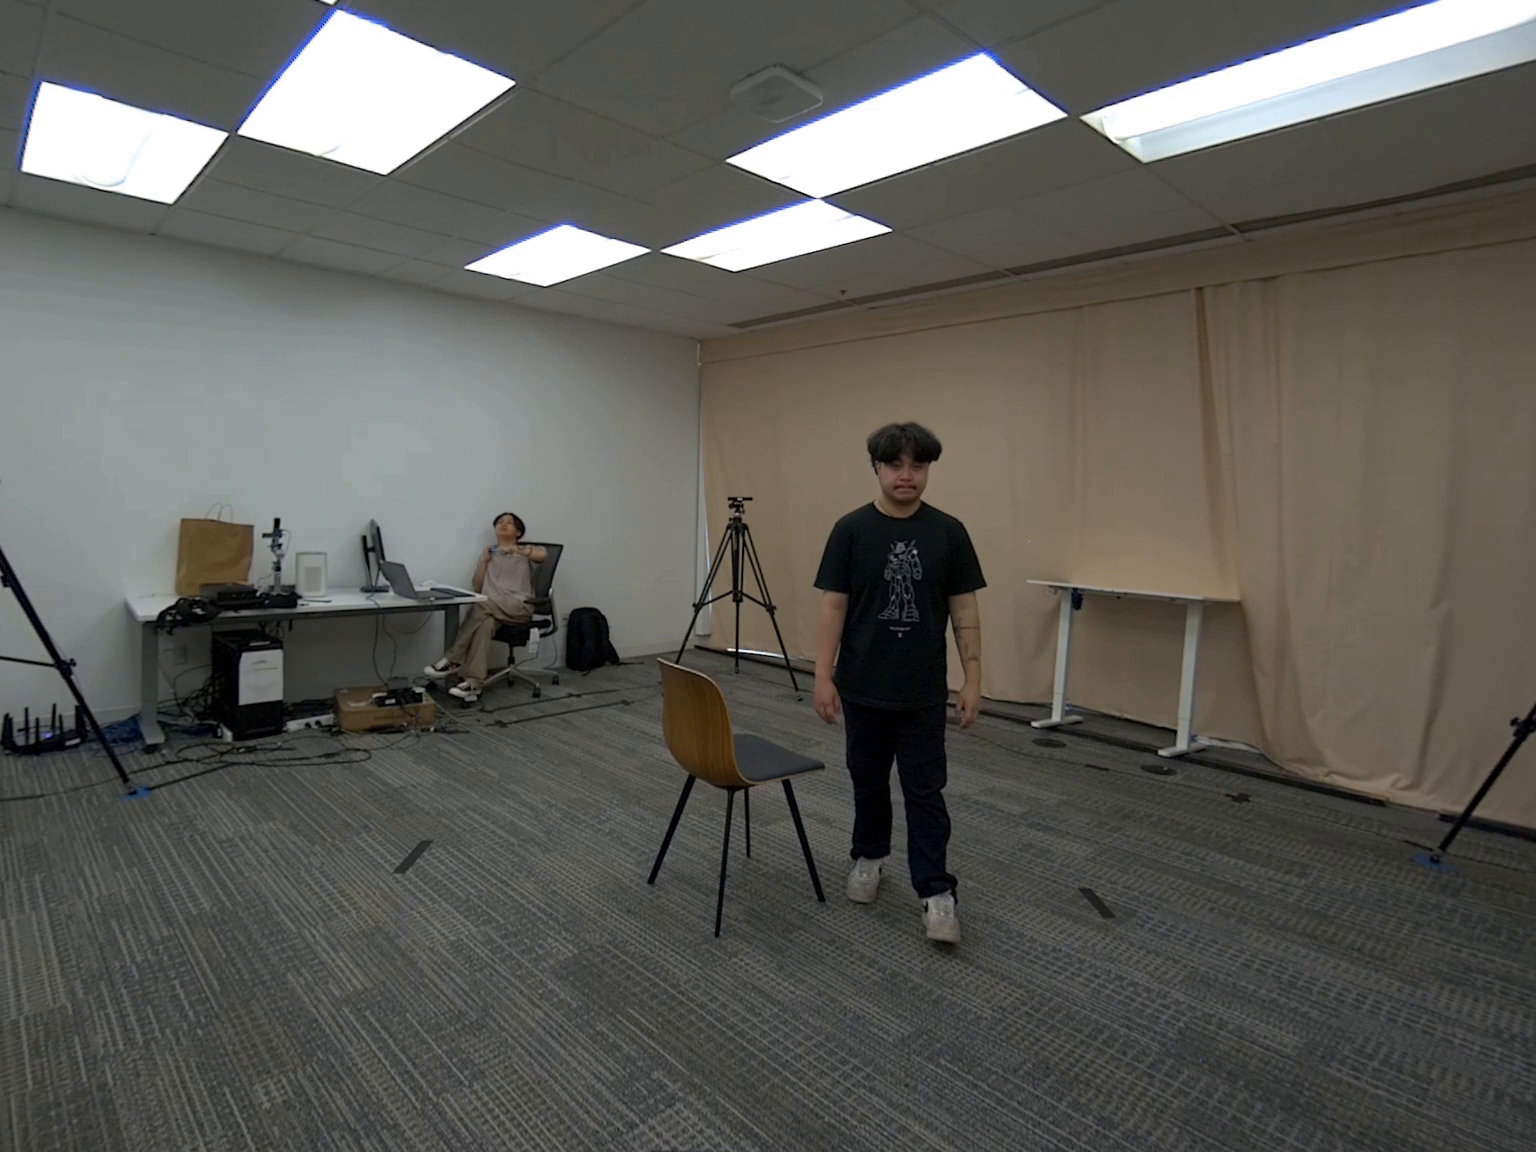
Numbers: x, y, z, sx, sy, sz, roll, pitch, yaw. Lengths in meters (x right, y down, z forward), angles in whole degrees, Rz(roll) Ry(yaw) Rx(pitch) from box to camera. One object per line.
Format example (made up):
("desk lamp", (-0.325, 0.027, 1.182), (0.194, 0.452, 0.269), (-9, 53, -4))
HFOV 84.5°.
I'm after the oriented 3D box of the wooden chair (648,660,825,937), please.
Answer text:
("wooden chair", (-0.103, 0.692, 2.950), (0.513, 0.874, 0.490), (-6, 7, -36))
